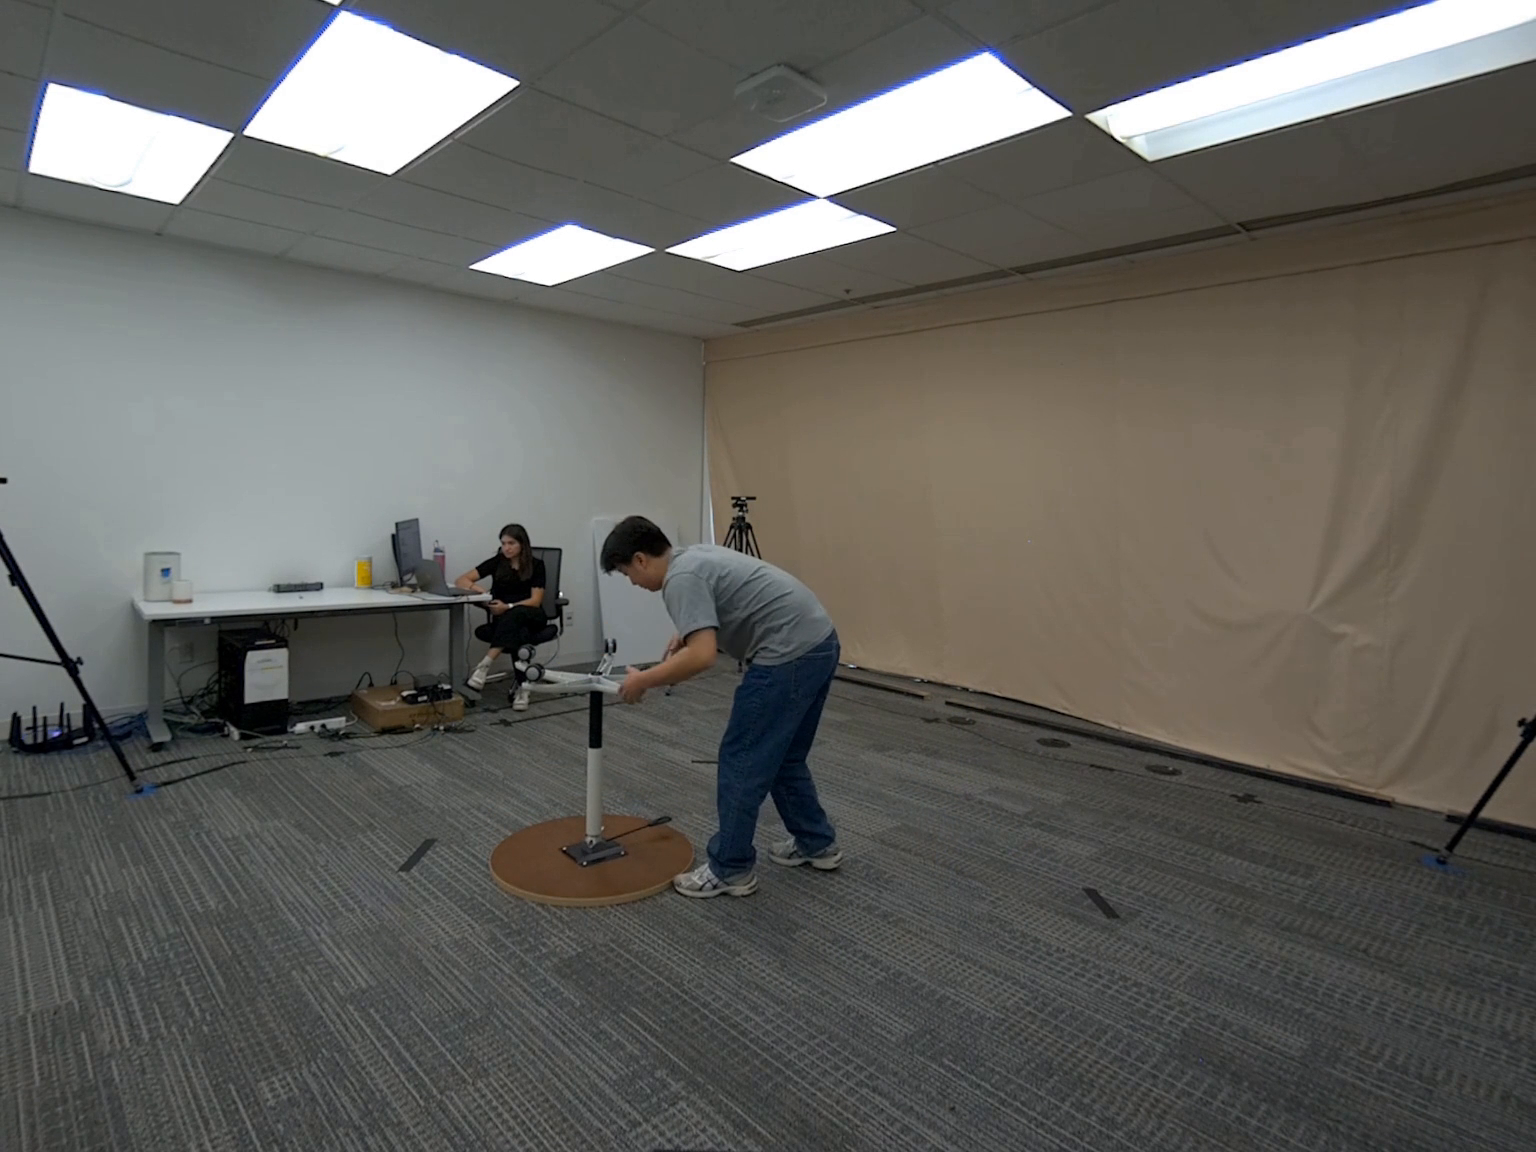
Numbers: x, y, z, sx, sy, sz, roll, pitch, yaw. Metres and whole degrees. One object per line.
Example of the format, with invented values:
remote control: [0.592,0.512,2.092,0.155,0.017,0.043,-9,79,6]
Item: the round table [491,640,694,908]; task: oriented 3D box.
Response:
round table: [-0.659,0.688,3.216,0.763,0.792,0.766,1,4,-1]
